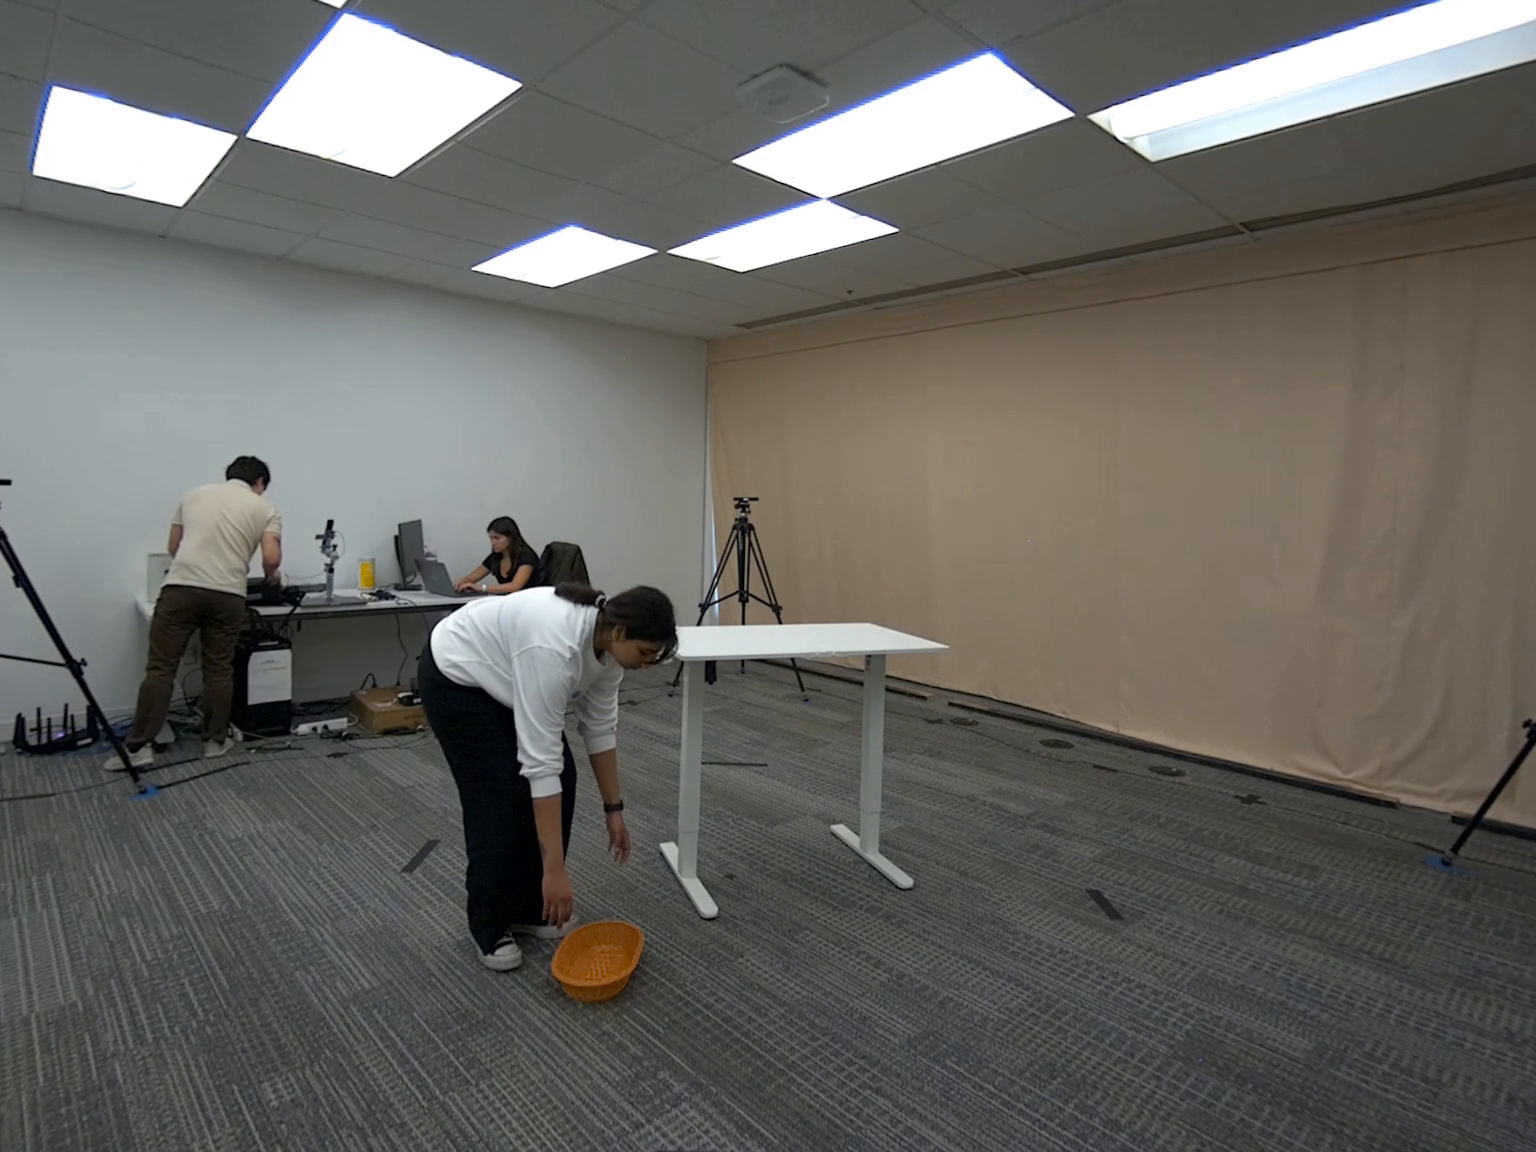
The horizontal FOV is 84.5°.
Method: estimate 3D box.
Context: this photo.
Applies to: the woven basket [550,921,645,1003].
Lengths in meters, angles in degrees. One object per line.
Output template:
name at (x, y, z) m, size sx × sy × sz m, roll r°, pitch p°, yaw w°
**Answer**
woven basket at (-0.500, 1.124, 2.440) m, size 0.254 × 0.073 × 0.349 m, roll 0°, pitch 6°, yaw 6°
